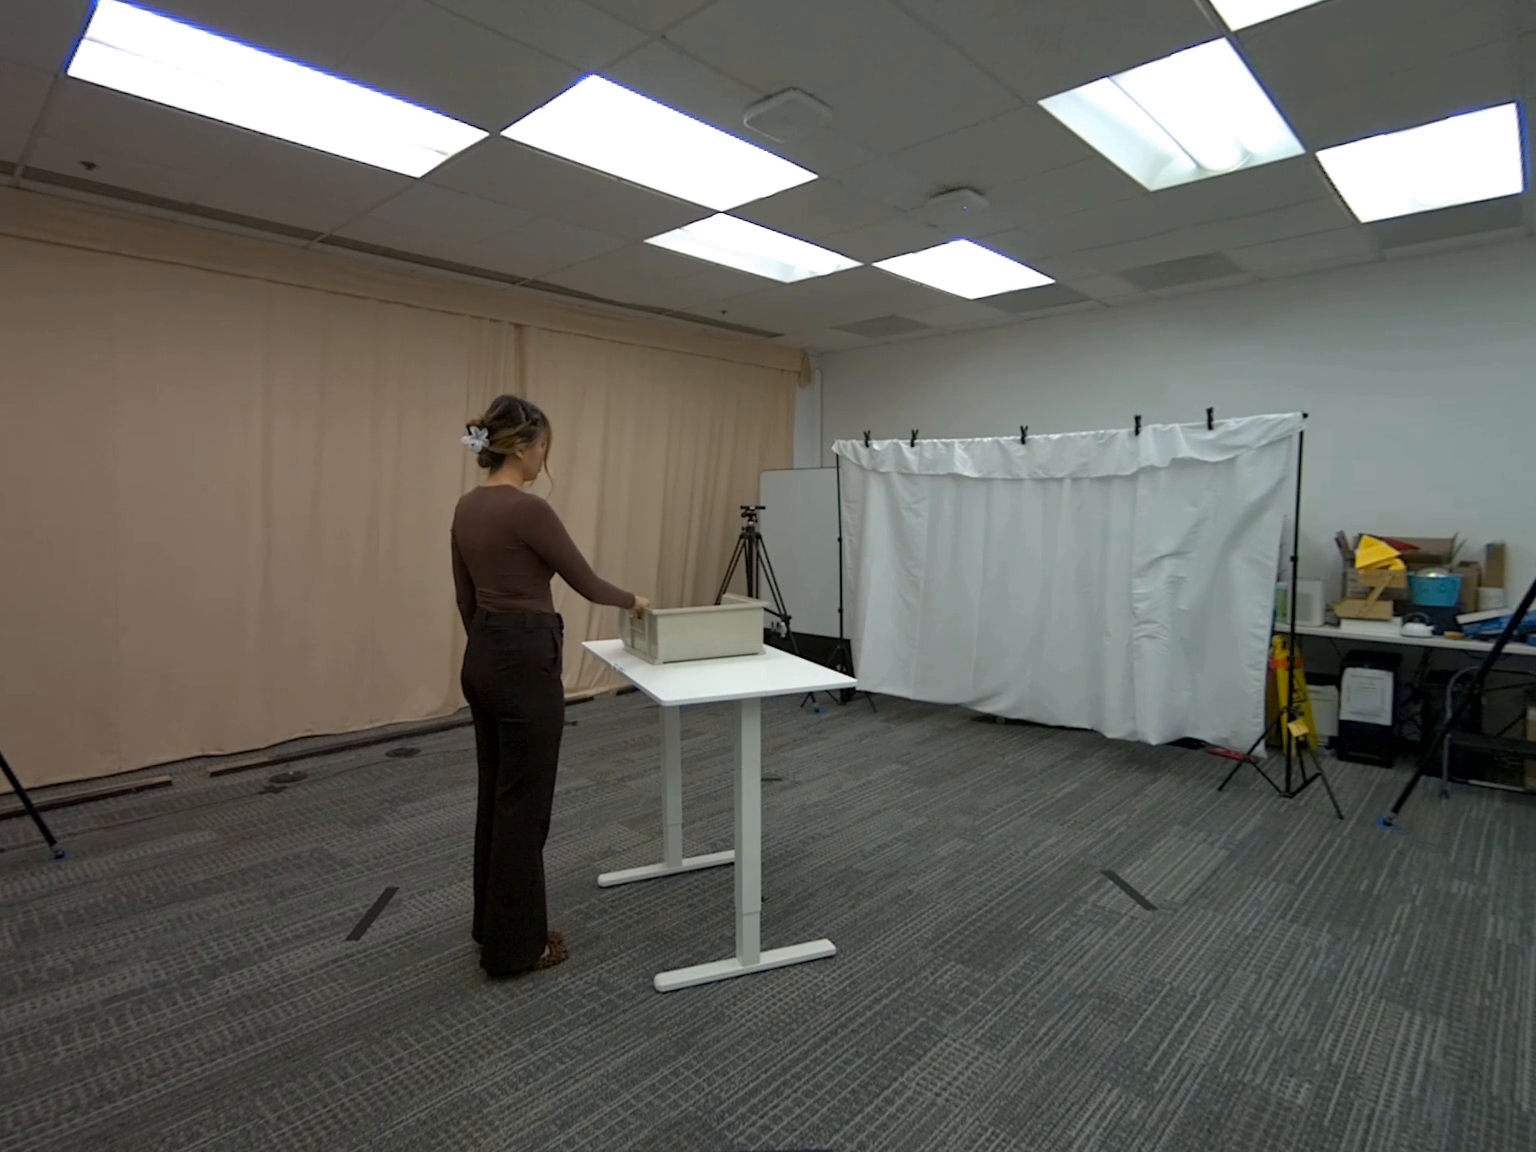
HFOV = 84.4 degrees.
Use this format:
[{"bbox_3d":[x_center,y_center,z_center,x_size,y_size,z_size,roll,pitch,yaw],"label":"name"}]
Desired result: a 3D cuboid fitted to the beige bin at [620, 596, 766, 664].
[{"bbox_3d":[-0.271,0.176,2.945,0.412,0.188,0.388,-2,6,-27],"label":"beige bin"}]
